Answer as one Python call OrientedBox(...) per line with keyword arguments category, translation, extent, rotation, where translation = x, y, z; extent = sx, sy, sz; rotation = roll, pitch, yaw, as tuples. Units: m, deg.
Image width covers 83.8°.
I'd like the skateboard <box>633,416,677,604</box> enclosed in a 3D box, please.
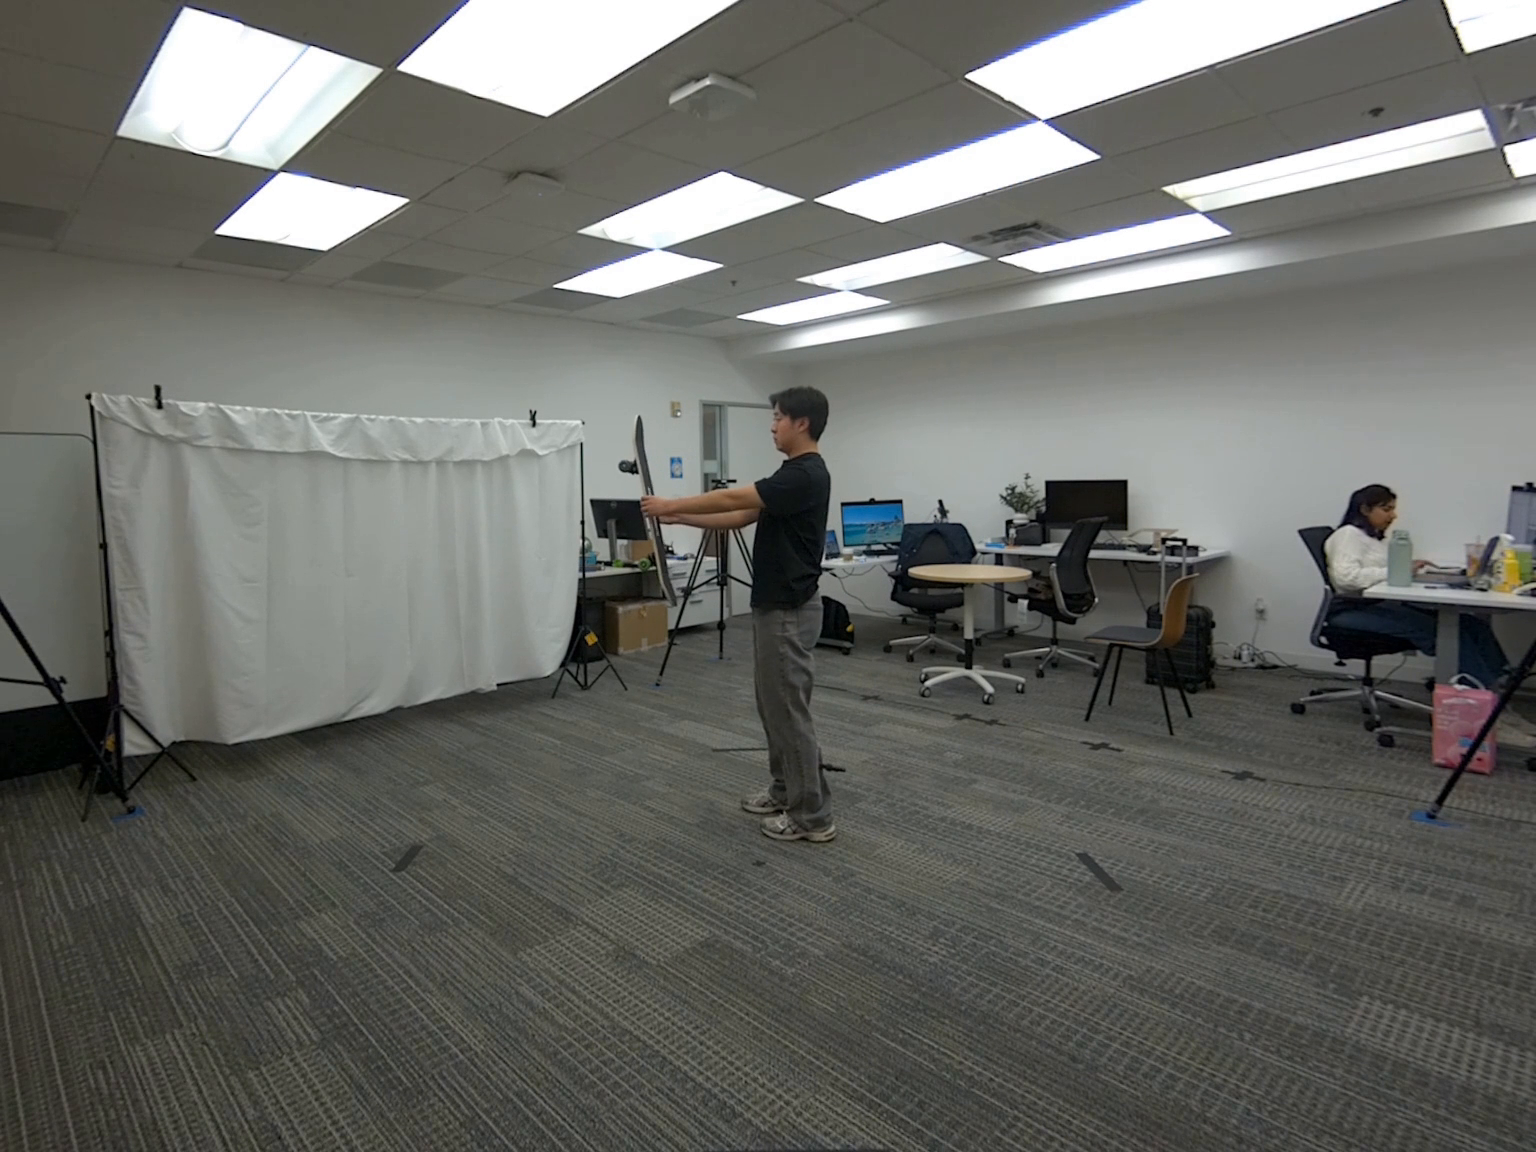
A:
OrientedBox(category="skateboard", translation=(-0.497, -0.251, 3.456), extent=(0.111, 0.788, 0.192), rotation=(-11, -3, 6))
